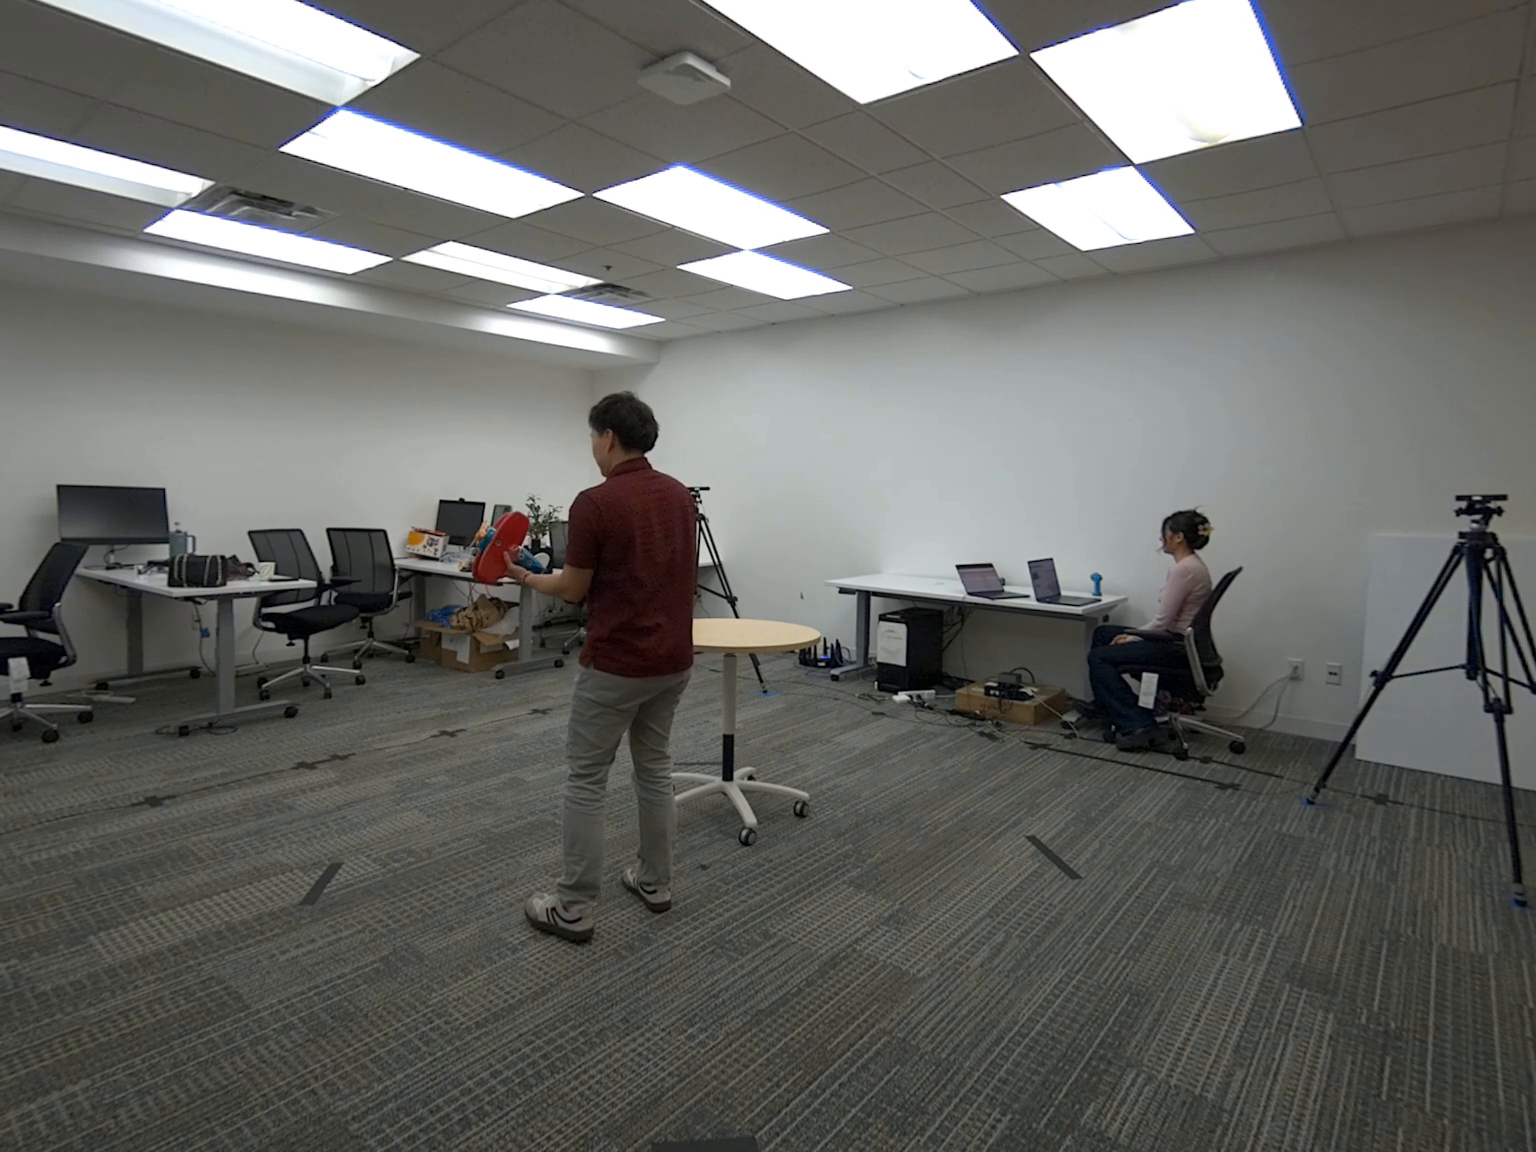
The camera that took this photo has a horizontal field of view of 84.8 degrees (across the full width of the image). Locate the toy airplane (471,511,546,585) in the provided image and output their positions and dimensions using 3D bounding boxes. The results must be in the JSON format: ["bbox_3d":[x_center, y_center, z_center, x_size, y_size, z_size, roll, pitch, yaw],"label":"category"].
[{"bbox_3d":[-0.875,-0.112,2.886,0.254,0.253,0.158,3,-8,-20],"label":"toy airplane"}]
